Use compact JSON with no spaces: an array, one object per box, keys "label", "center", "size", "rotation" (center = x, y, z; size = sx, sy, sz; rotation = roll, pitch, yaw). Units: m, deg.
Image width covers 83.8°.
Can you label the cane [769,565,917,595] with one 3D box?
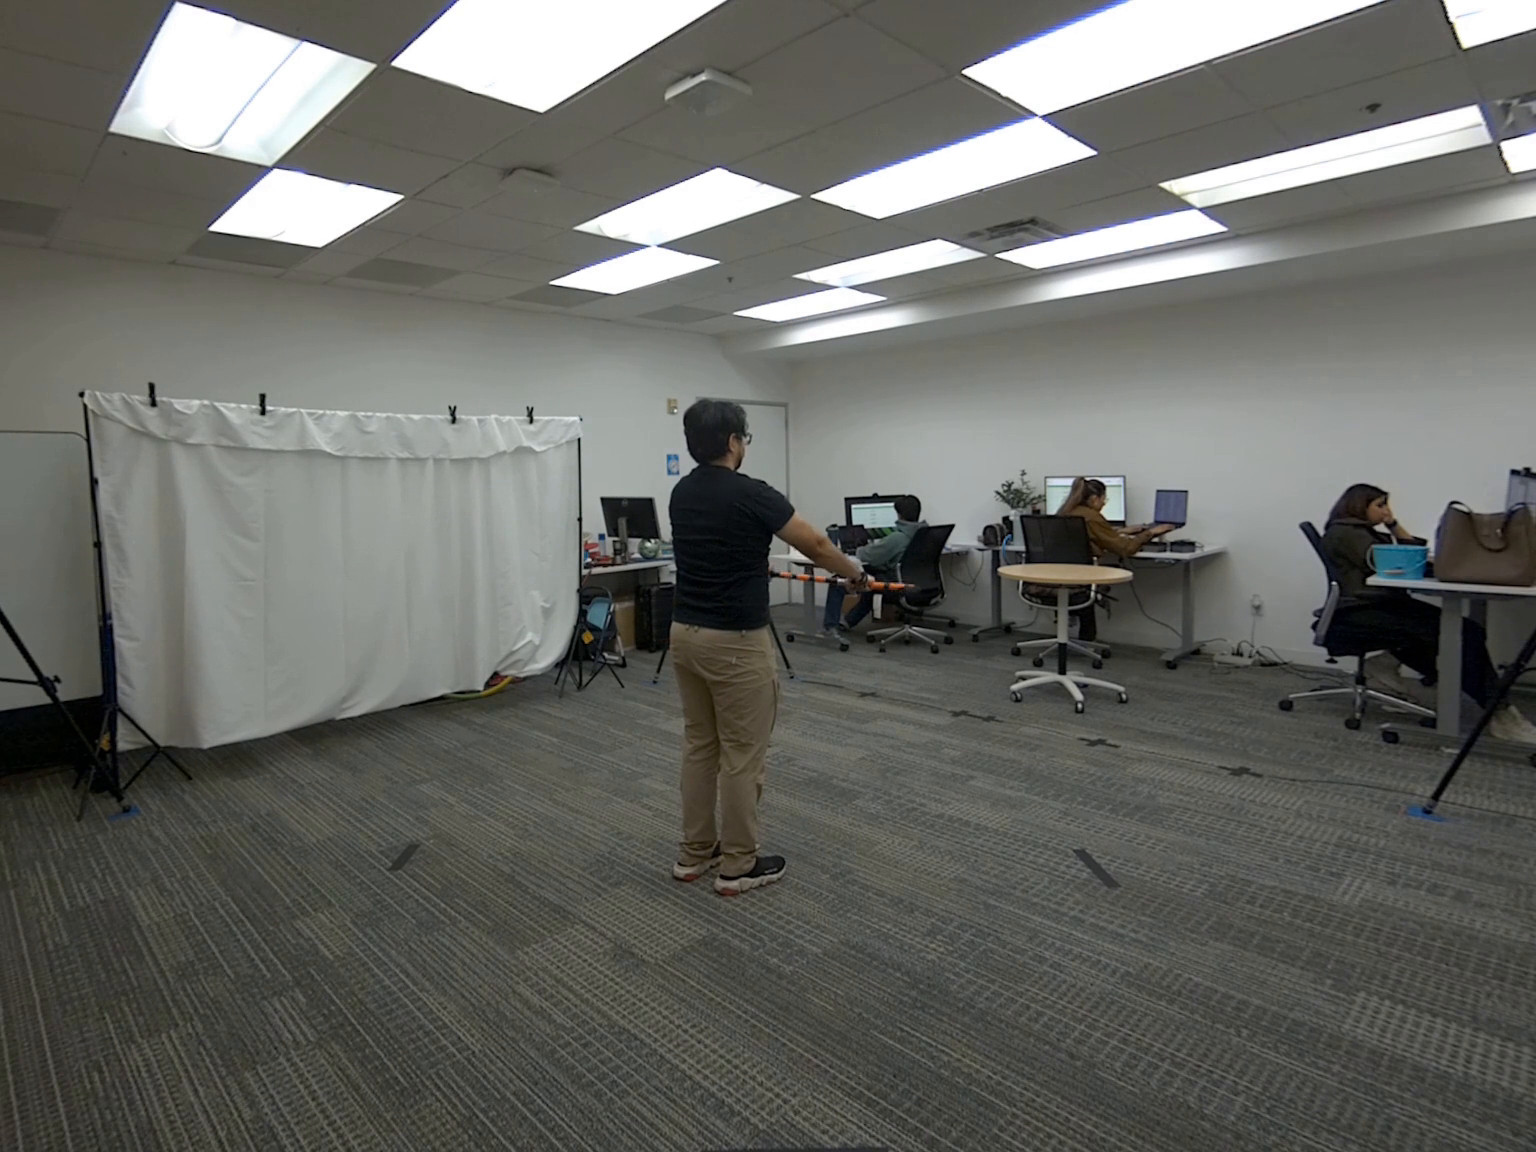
[{"label":"cane","center":[0.180,0.023,3.281],"size":[0.936,0.151,0.200],"rotation":[5,3,43]}]
